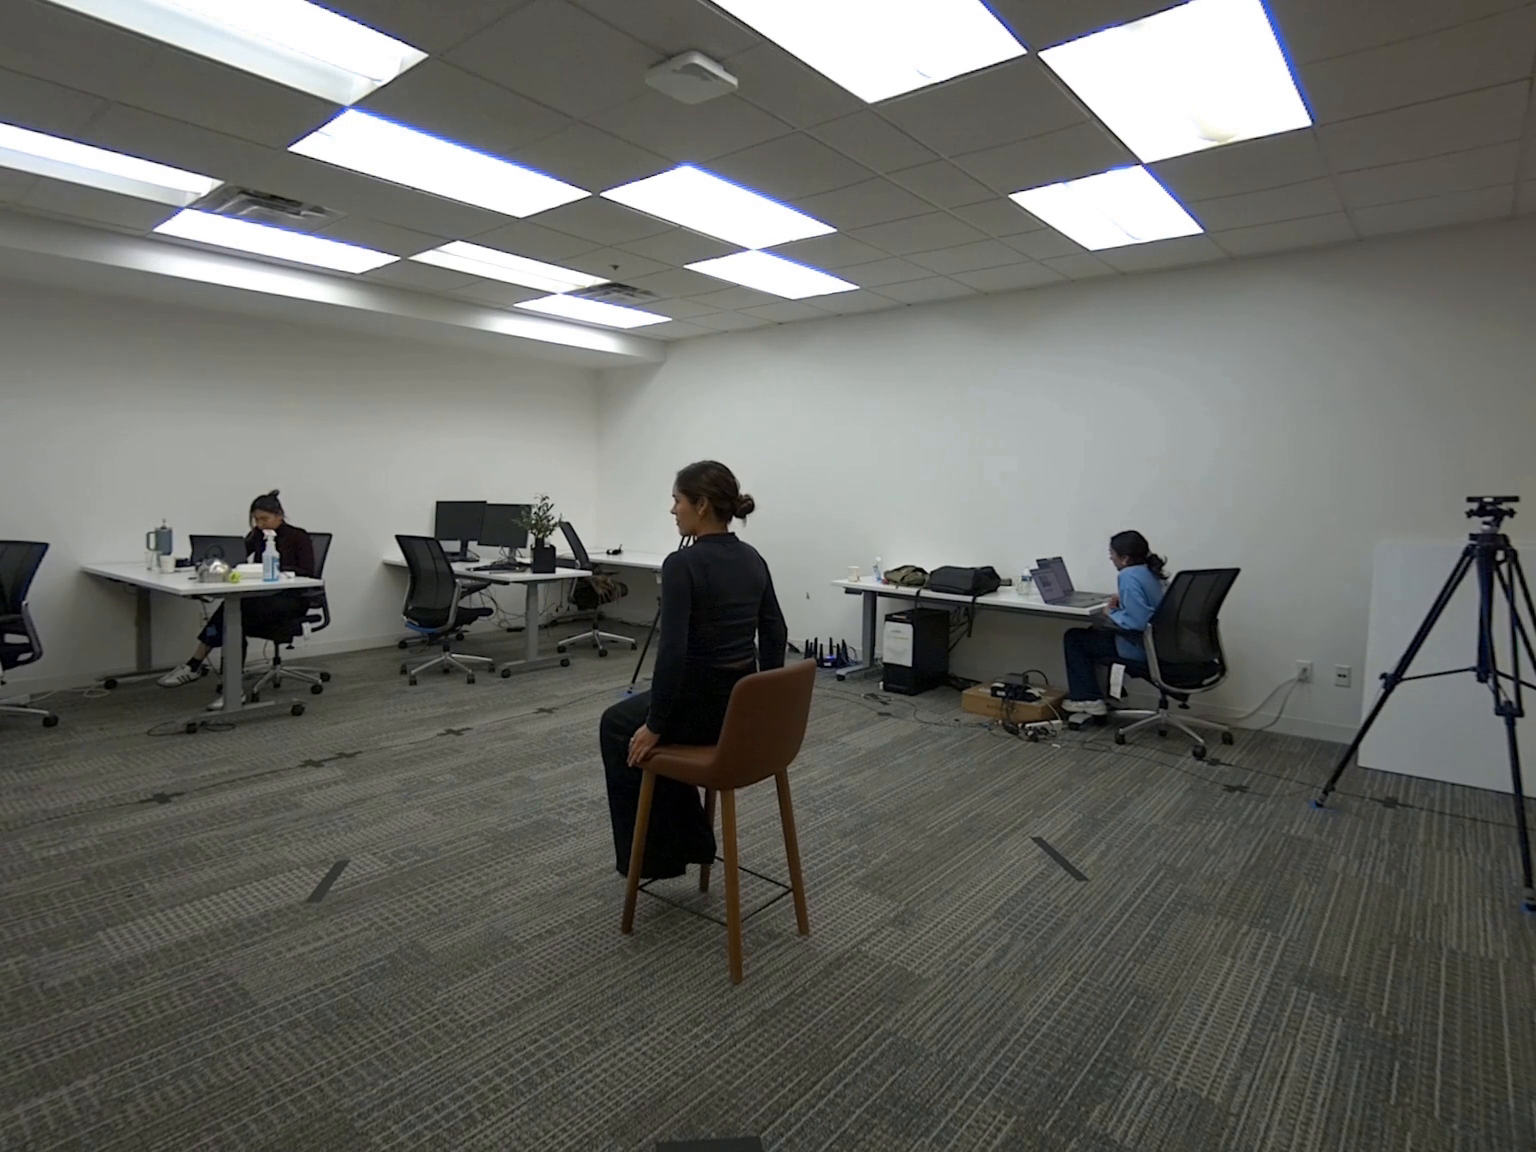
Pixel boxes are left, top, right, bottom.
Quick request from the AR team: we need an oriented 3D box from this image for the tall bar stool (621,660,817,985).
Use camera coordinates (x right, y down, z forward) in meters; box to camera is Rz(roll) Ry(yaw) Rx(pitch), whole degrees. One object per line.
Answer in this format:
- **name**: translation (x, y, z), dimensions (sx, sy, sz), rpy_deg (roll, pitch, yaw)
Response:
- **tall bar stool**: translation (-0.149, 0.681, 2.623), dimensions (0.483, 0.886, 0.443), rpy_deg (6, 6, 37)
